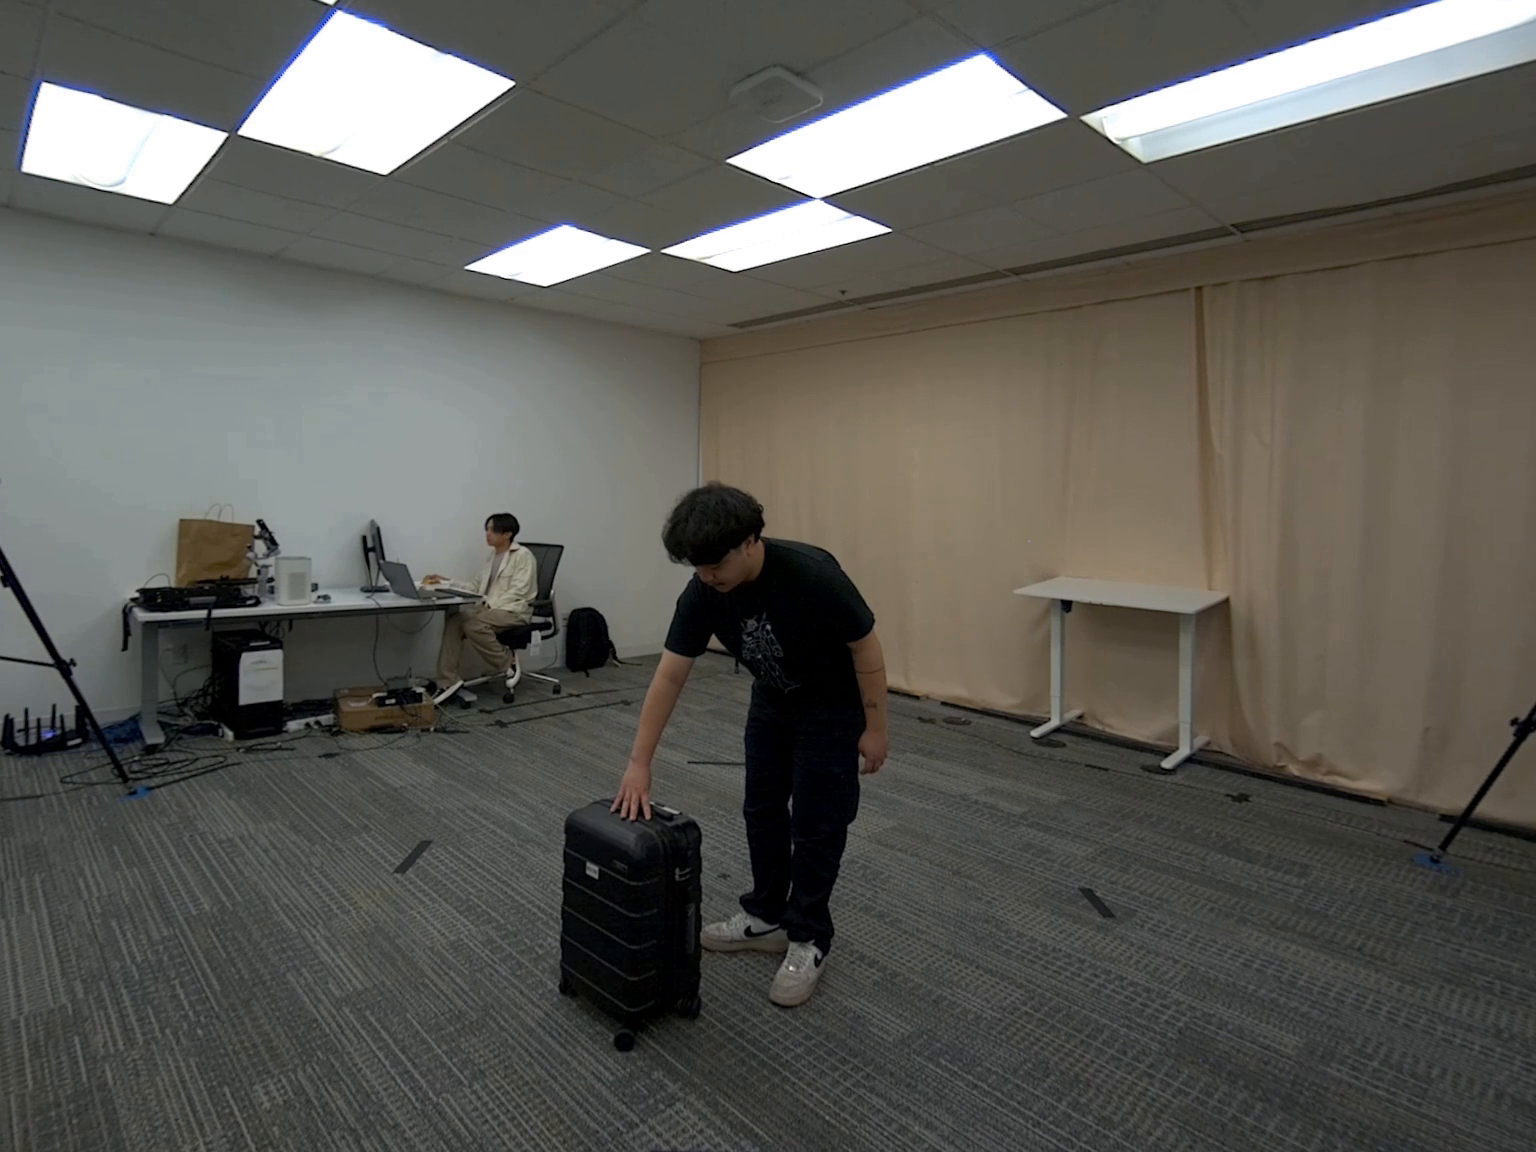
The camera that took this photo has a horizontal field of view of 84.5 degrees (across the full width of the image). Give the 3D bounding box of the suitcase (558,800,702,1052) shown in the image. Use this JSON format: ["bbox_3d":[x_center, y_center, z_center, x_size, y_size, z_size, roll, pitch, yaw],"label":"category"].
[{"bbox_3d":[-0.377,0.906,2.281,0.385,0.547,0.243,6,6,44],"label":"suitcase"}]
